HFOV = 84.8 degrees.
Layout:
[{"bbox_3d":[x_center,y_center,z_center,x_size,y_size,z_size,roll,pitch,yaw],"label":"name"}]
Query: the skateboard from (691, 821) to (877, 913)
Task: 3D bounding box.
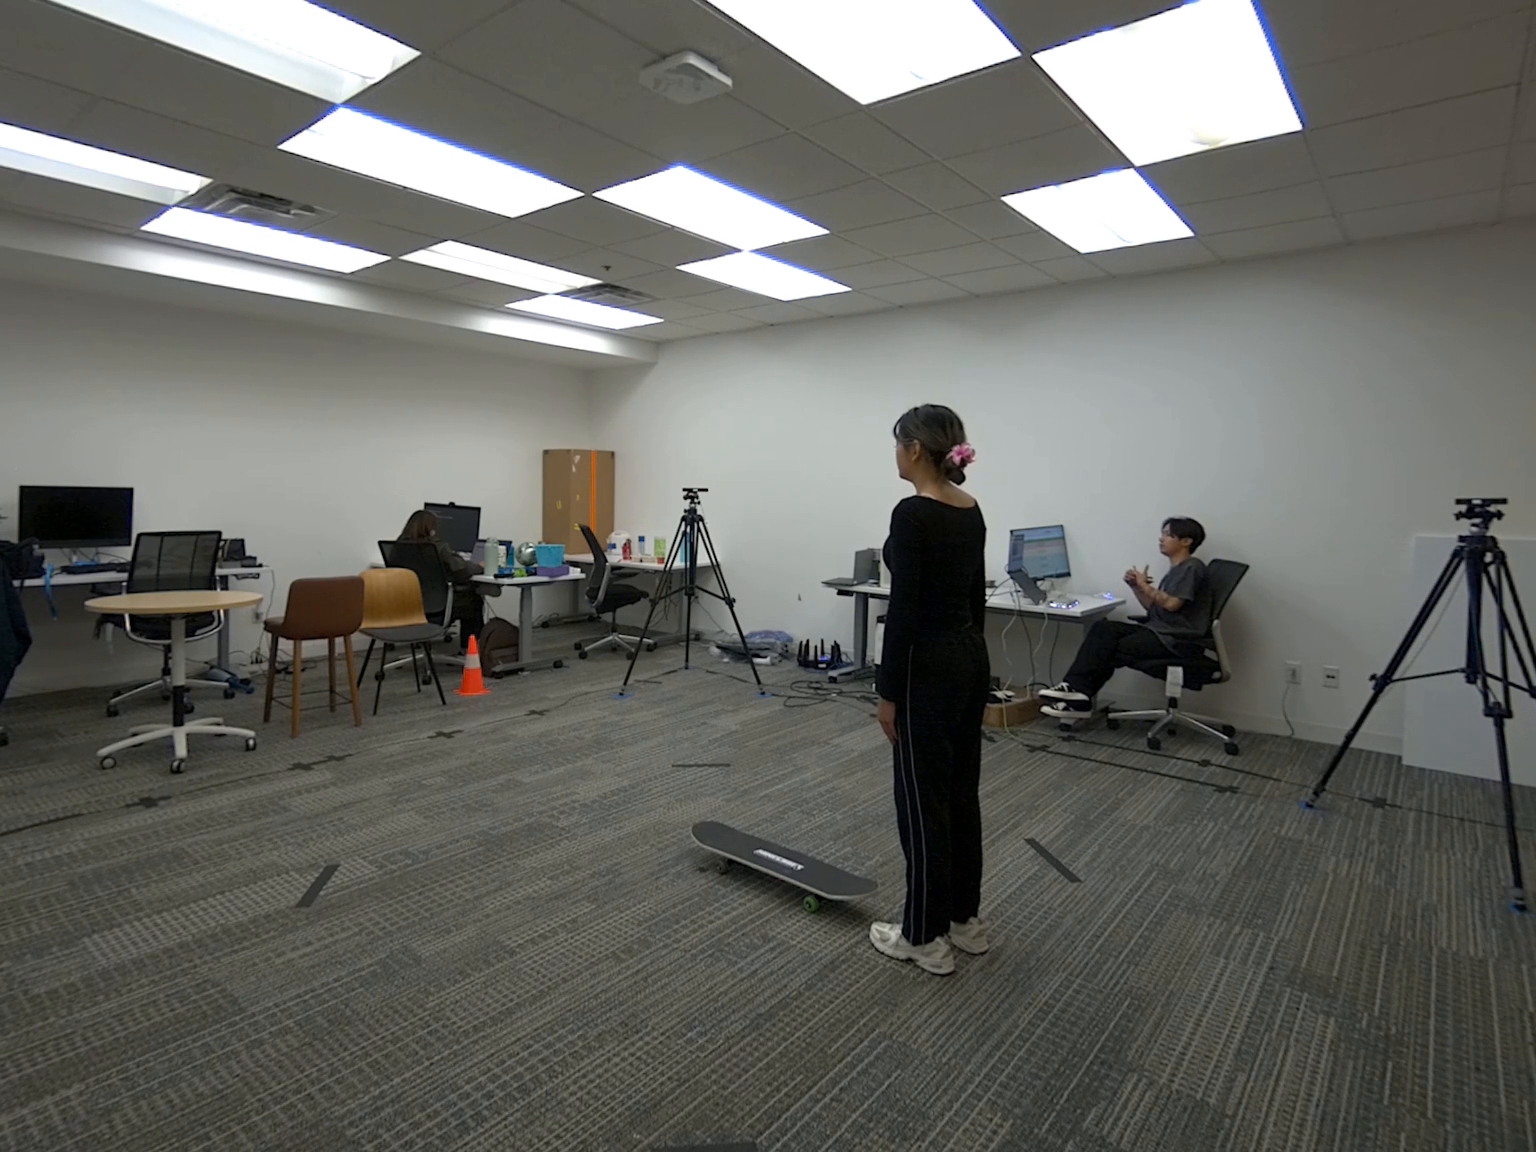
[{"bbox_3d":[0.029,1.029,2.999,0.812,0.110,0.188,6,7,40],"label":"skateboard"}]
